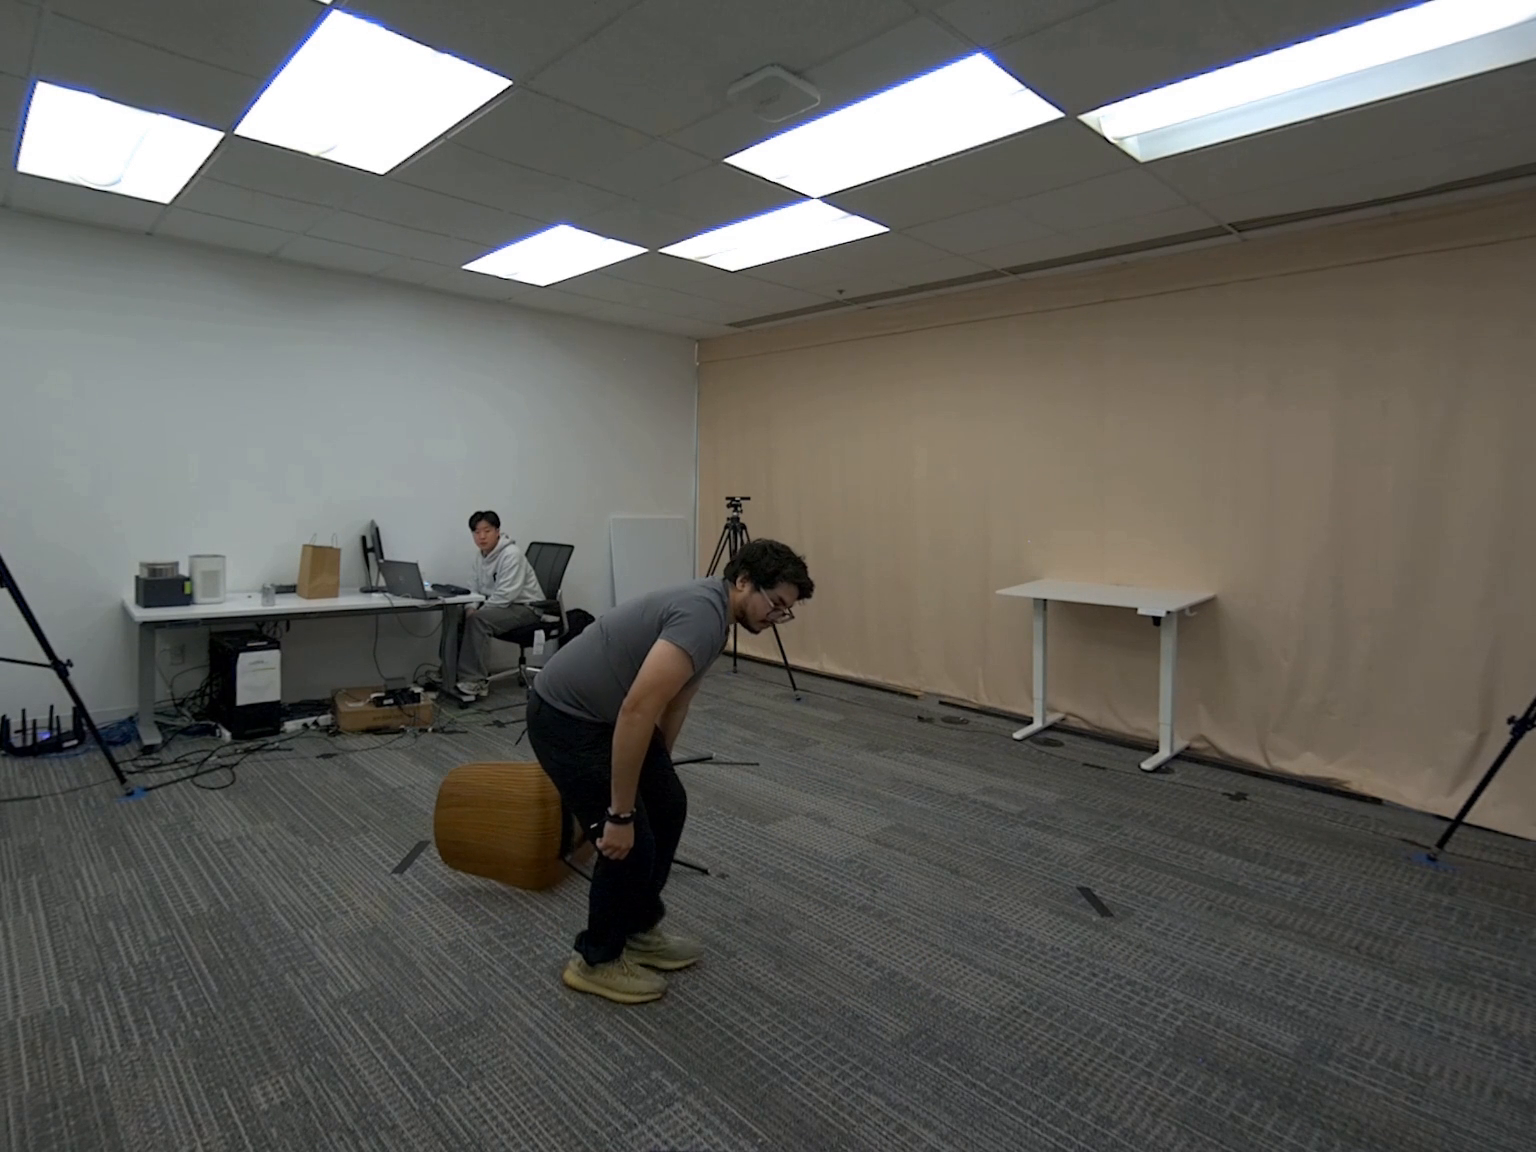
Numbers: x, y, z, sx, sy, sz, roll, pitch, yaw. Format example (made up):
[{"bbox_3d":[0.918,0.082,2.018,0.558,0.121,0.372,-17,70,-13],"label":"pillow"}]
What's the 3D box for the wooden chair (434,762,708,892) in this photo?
[{"bbox_3d":[-0.687,0.869,3.048,0.888,0.476,0.518,3,5,15],"label":"wooden chair"}]
